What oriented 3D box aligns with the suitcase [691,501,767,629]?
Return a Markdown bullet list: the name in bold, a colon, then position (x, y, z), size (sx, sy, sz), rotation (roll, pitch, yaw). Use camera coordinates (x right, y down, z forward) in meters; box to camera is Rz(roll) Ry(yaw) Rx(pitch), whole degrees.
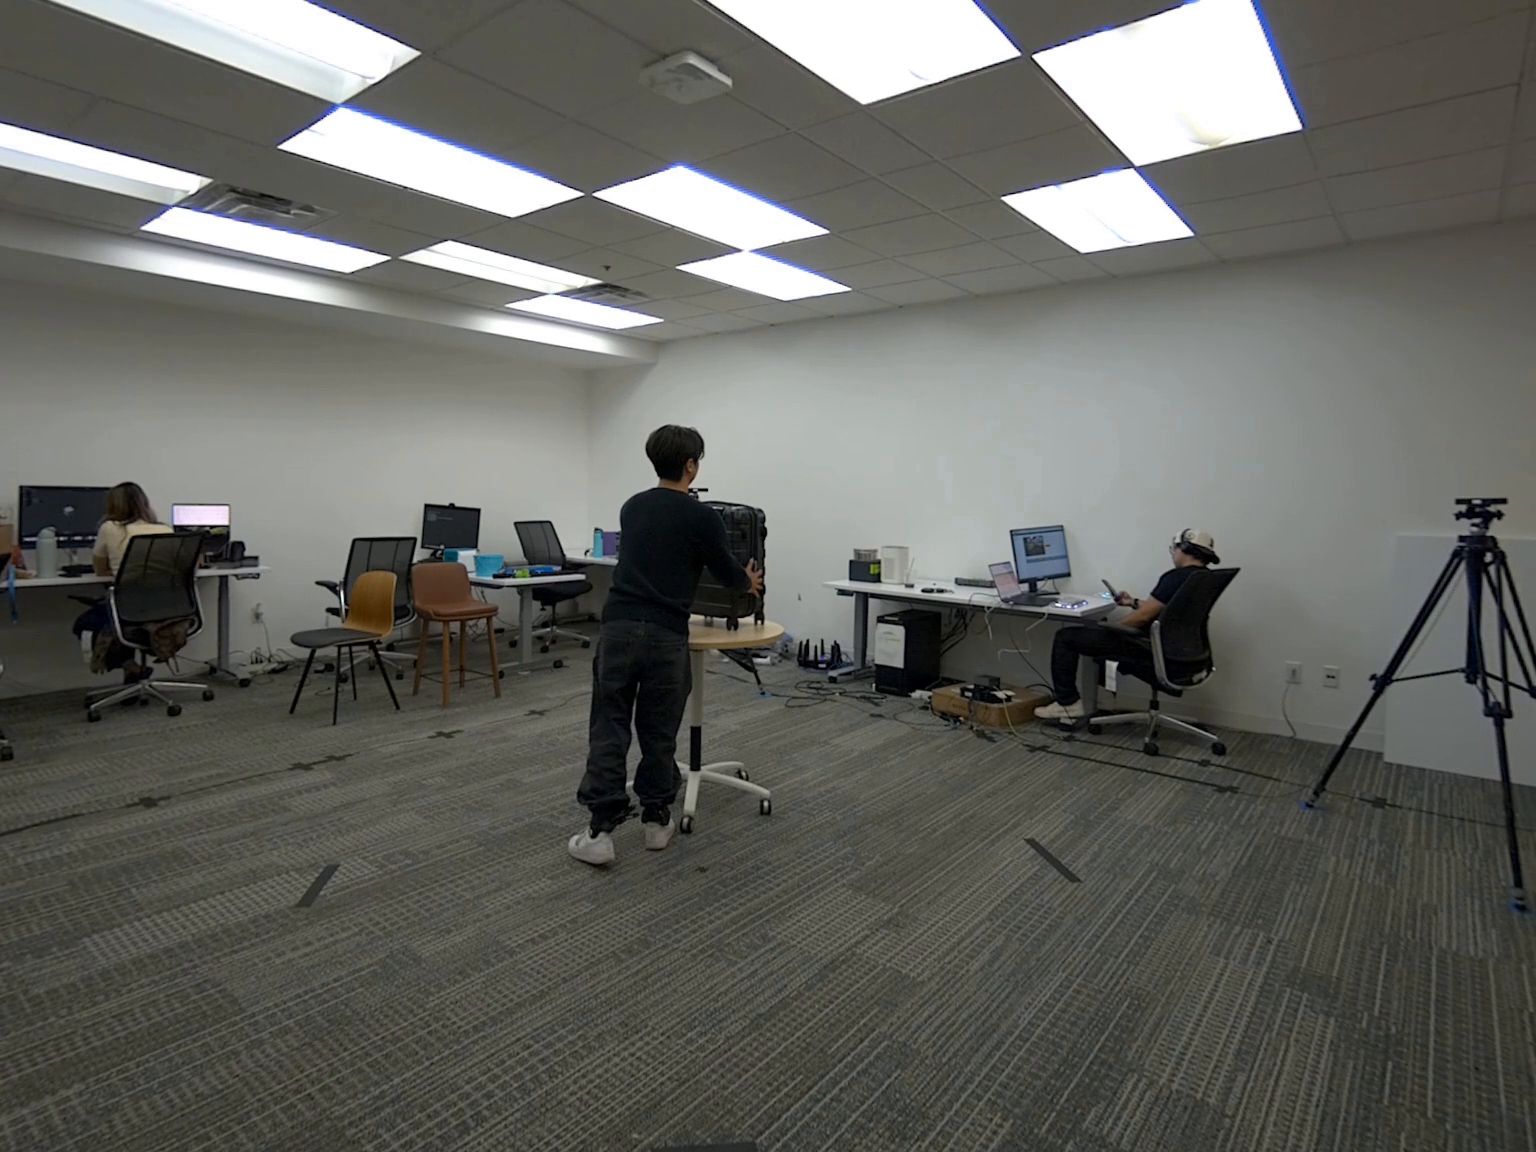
- **suitcase**: position (-0.219, -0.064, 3.838), size (0.388, 0.548, 0.241), rotation (4, 5, 37)
